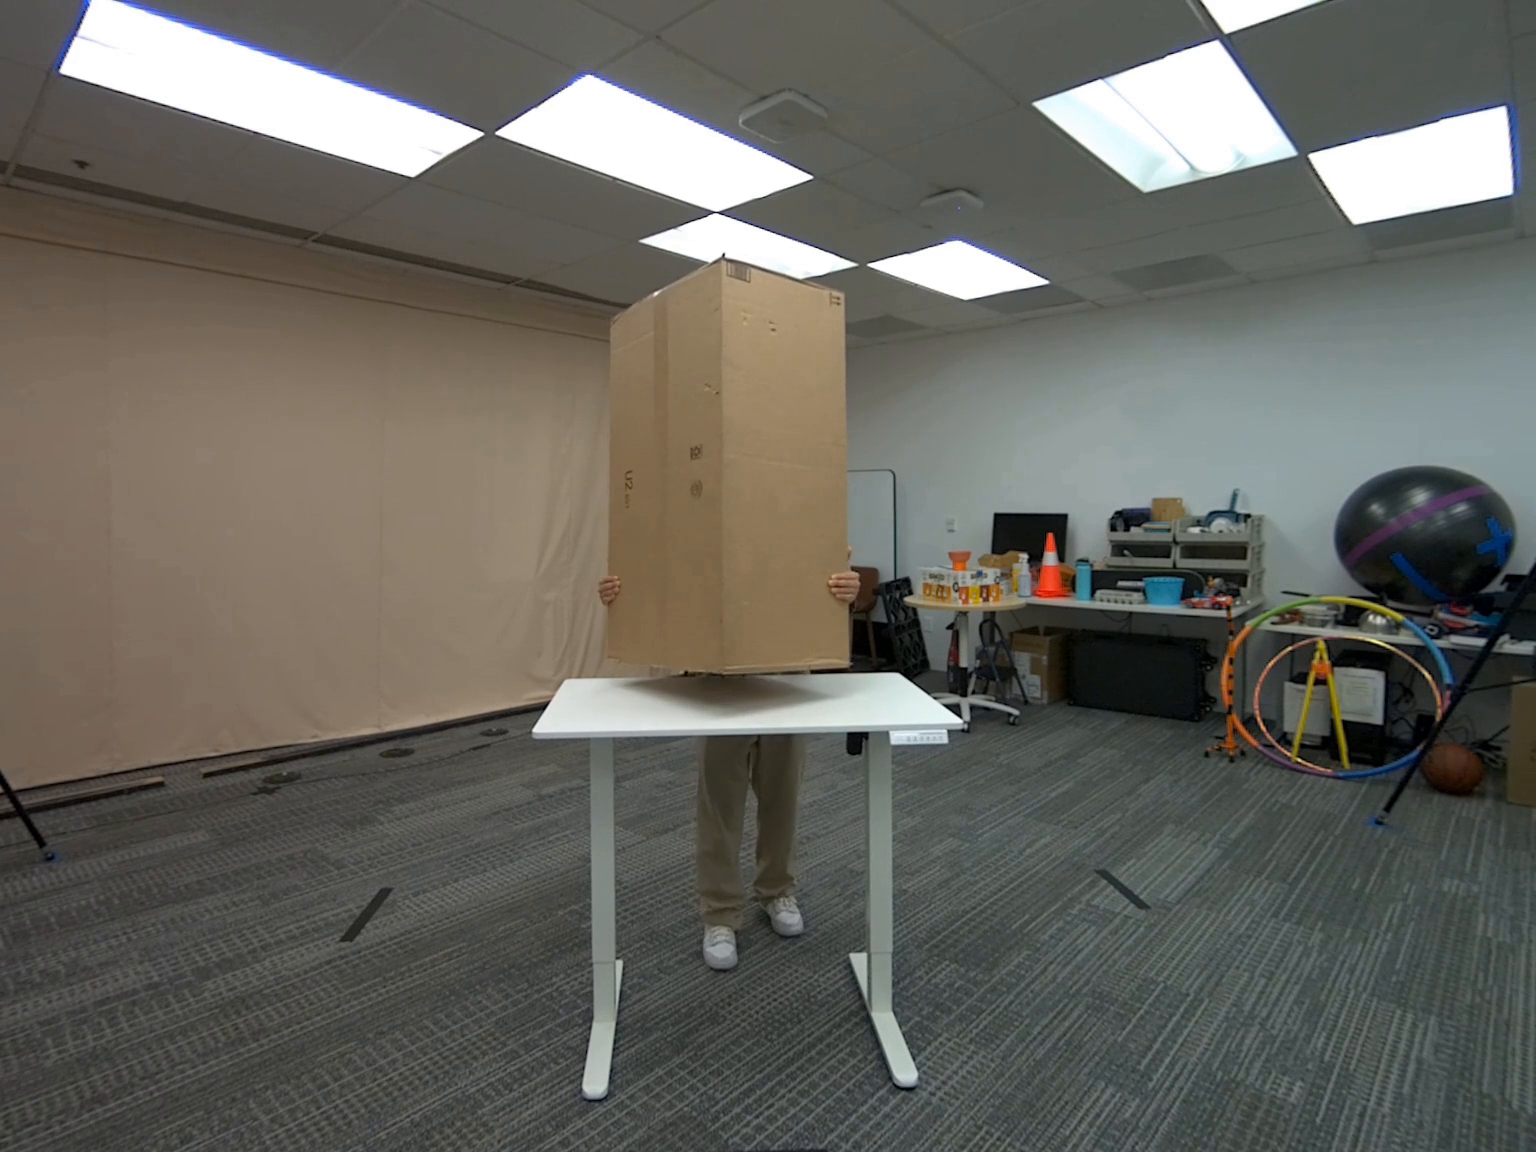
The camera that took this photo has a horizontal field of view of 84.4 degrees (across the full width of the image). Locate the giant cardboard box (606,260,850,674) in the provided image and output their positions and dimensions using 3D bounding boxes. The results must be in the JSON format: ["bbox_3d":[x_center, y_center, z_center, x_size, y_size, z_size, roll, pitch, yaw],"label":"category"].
[{"bbox_3d":[-0.125,-0.263,2.375,0.413,1.029,0.594,3,-5,-38],"label":"giant cardboard box"}]
